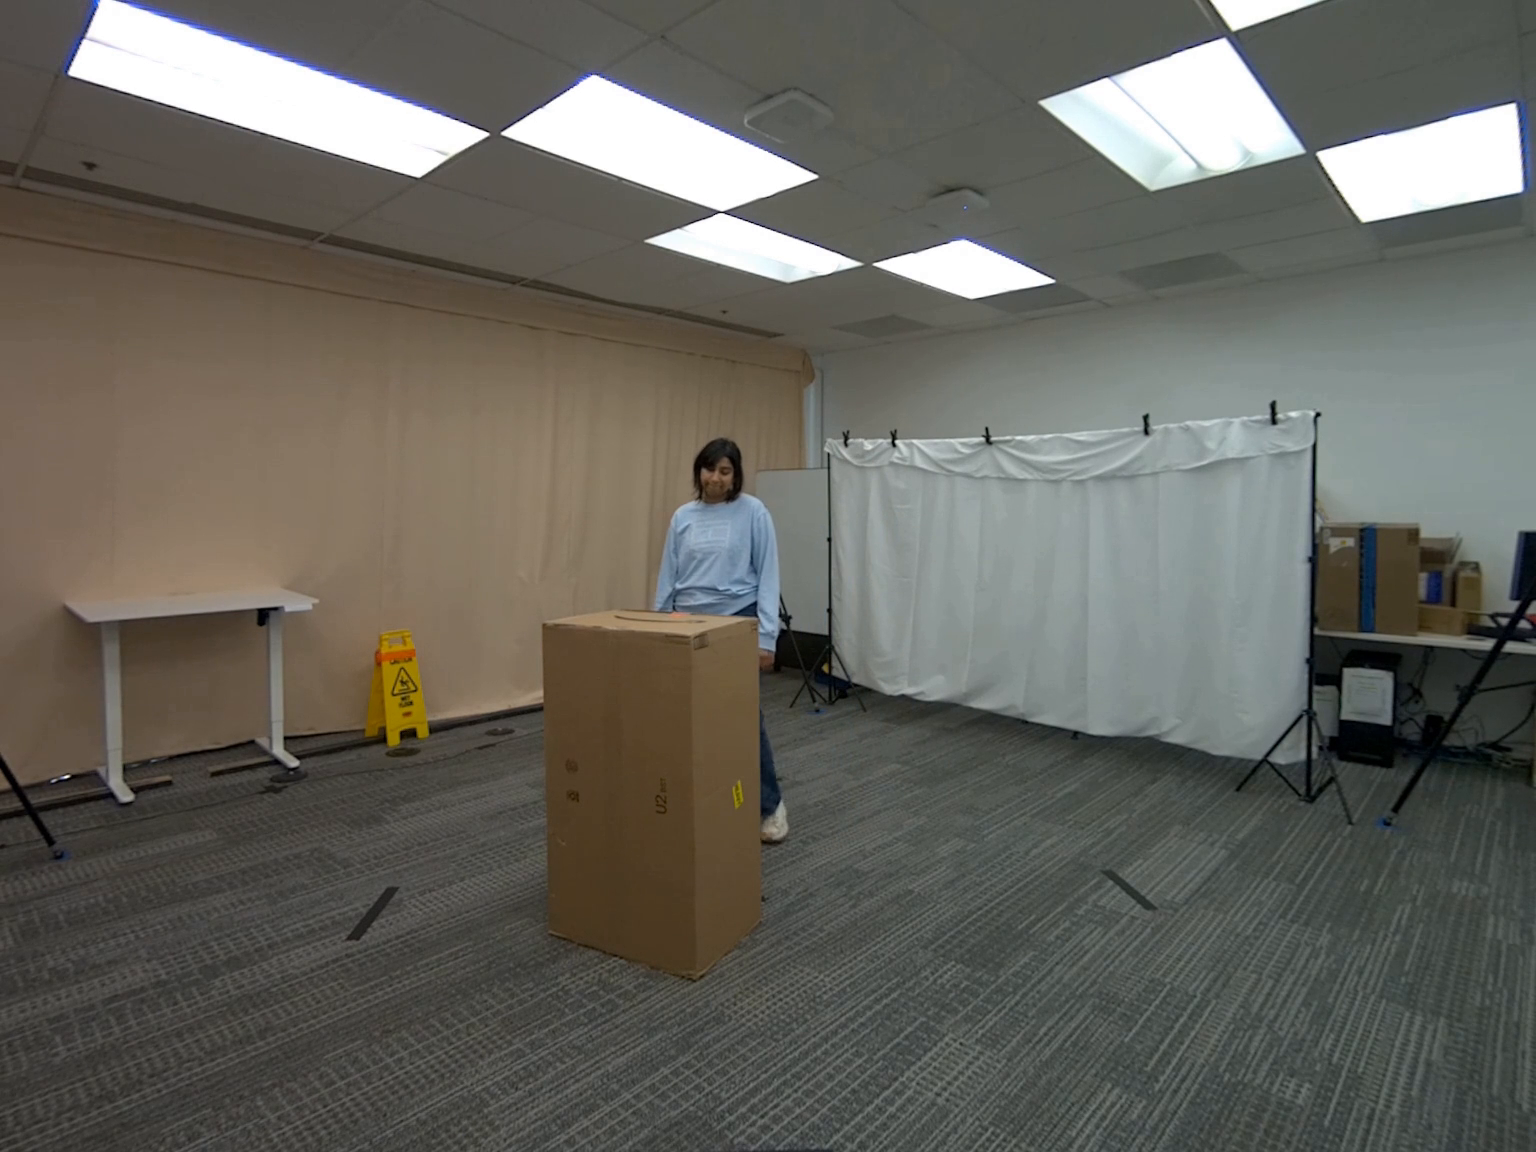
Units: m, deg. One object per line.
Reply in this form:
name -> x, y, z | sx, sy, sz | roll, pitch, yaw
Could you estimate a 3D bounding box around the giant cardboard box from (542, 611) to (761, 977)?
giant cardboard box -> -0.376, 0.652, 2.770 | 0.594, 1.024, 0.415 | 1, 3, 29
